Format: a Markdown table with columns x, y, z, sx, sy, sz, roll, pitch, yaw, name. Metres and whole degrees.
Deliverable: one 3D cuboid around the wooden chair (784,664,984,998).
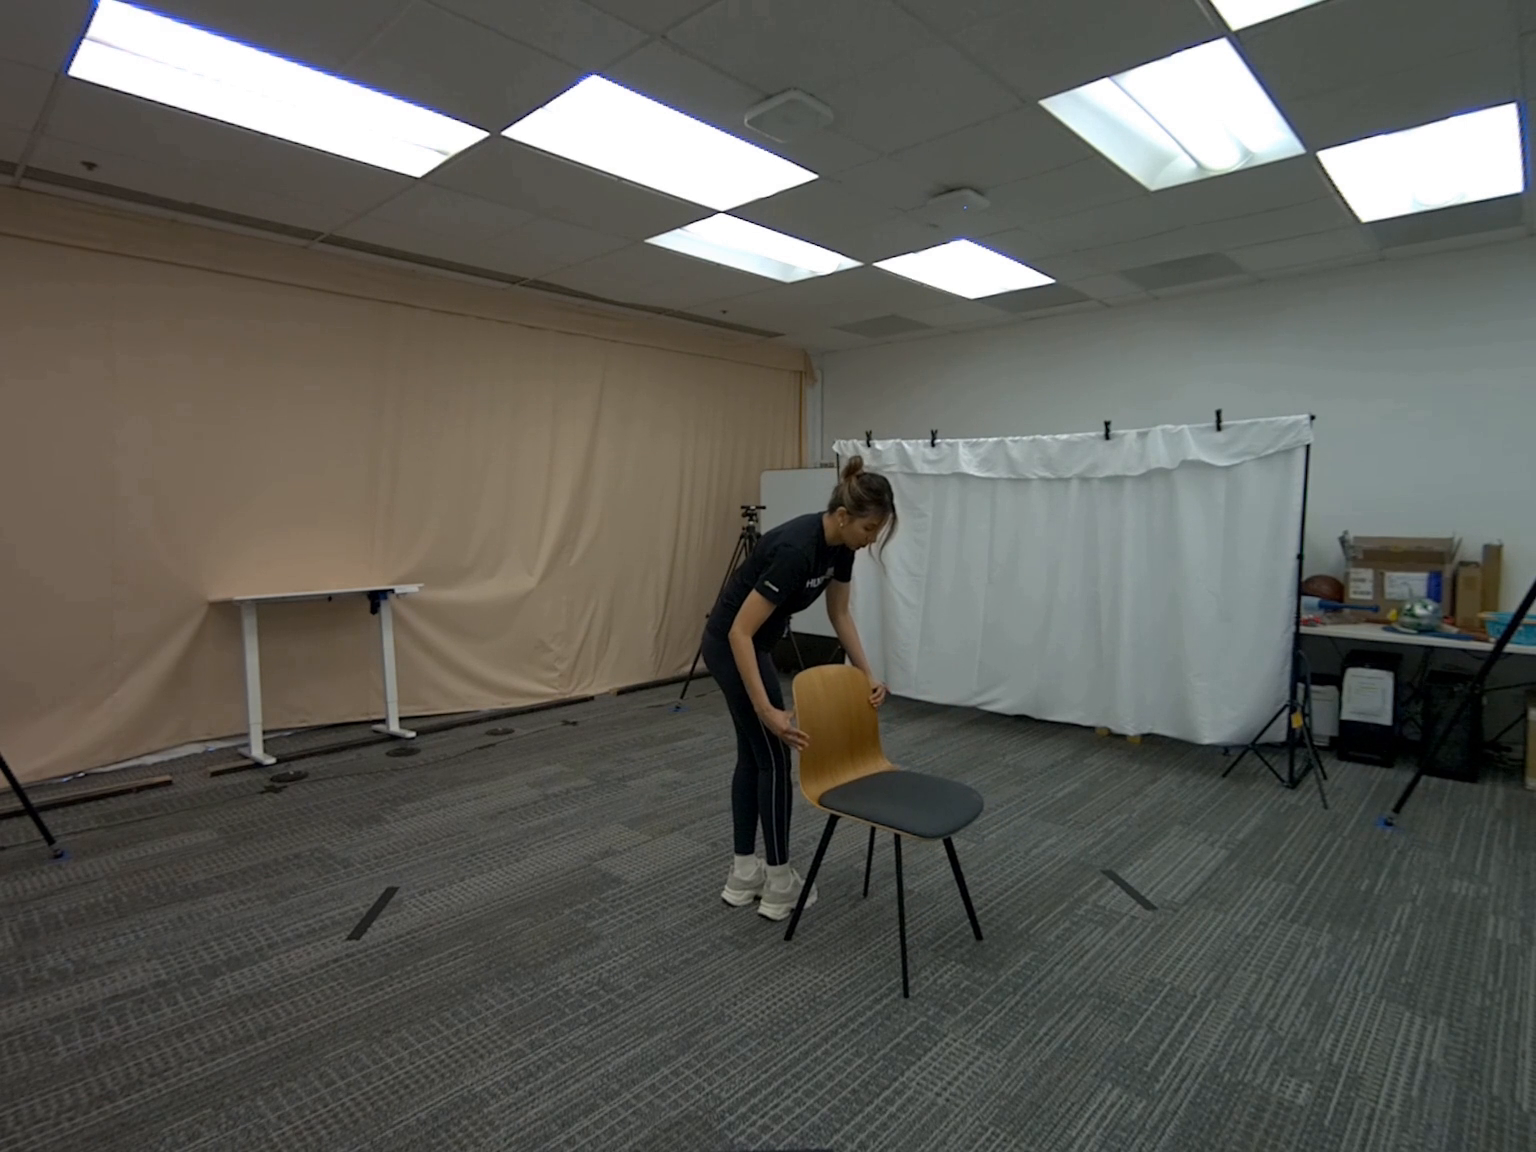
| x | y | z | sx | sy | sz | roll | pitch | yaw | name |
| --- | --- | --- | --- | --- | --- | --- | --- | --- | --- |
| 0.386 | 0.740 | 2.655 | 0.539 | 0.877 | 0.463 | -3 | 0 | 43 | wooden chair |
